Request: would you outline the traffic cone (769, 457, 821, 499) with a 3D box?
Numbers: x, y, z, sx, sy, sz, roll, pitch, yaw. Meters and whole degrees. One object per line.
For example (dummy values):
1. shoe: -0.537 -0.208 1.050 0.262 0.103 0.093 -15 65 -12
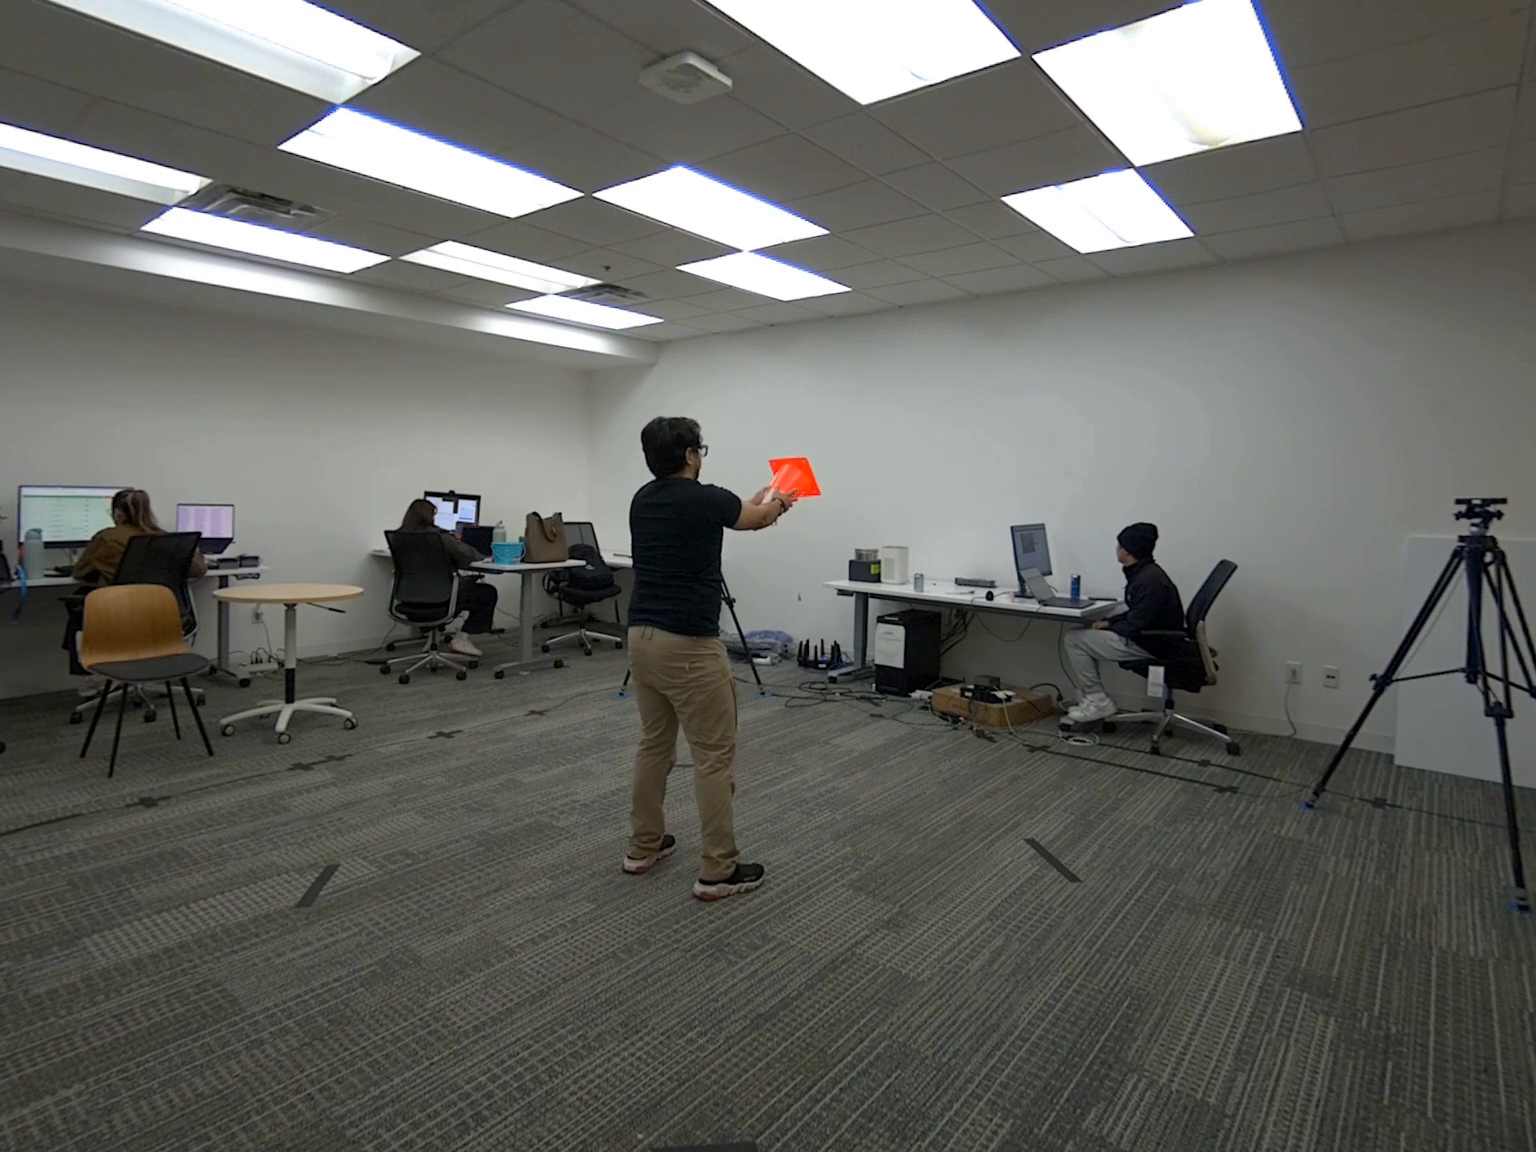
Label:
1. traffic cone: 0.021 -0.308 3.518 0.211 0.197 0.384 0 37 36
